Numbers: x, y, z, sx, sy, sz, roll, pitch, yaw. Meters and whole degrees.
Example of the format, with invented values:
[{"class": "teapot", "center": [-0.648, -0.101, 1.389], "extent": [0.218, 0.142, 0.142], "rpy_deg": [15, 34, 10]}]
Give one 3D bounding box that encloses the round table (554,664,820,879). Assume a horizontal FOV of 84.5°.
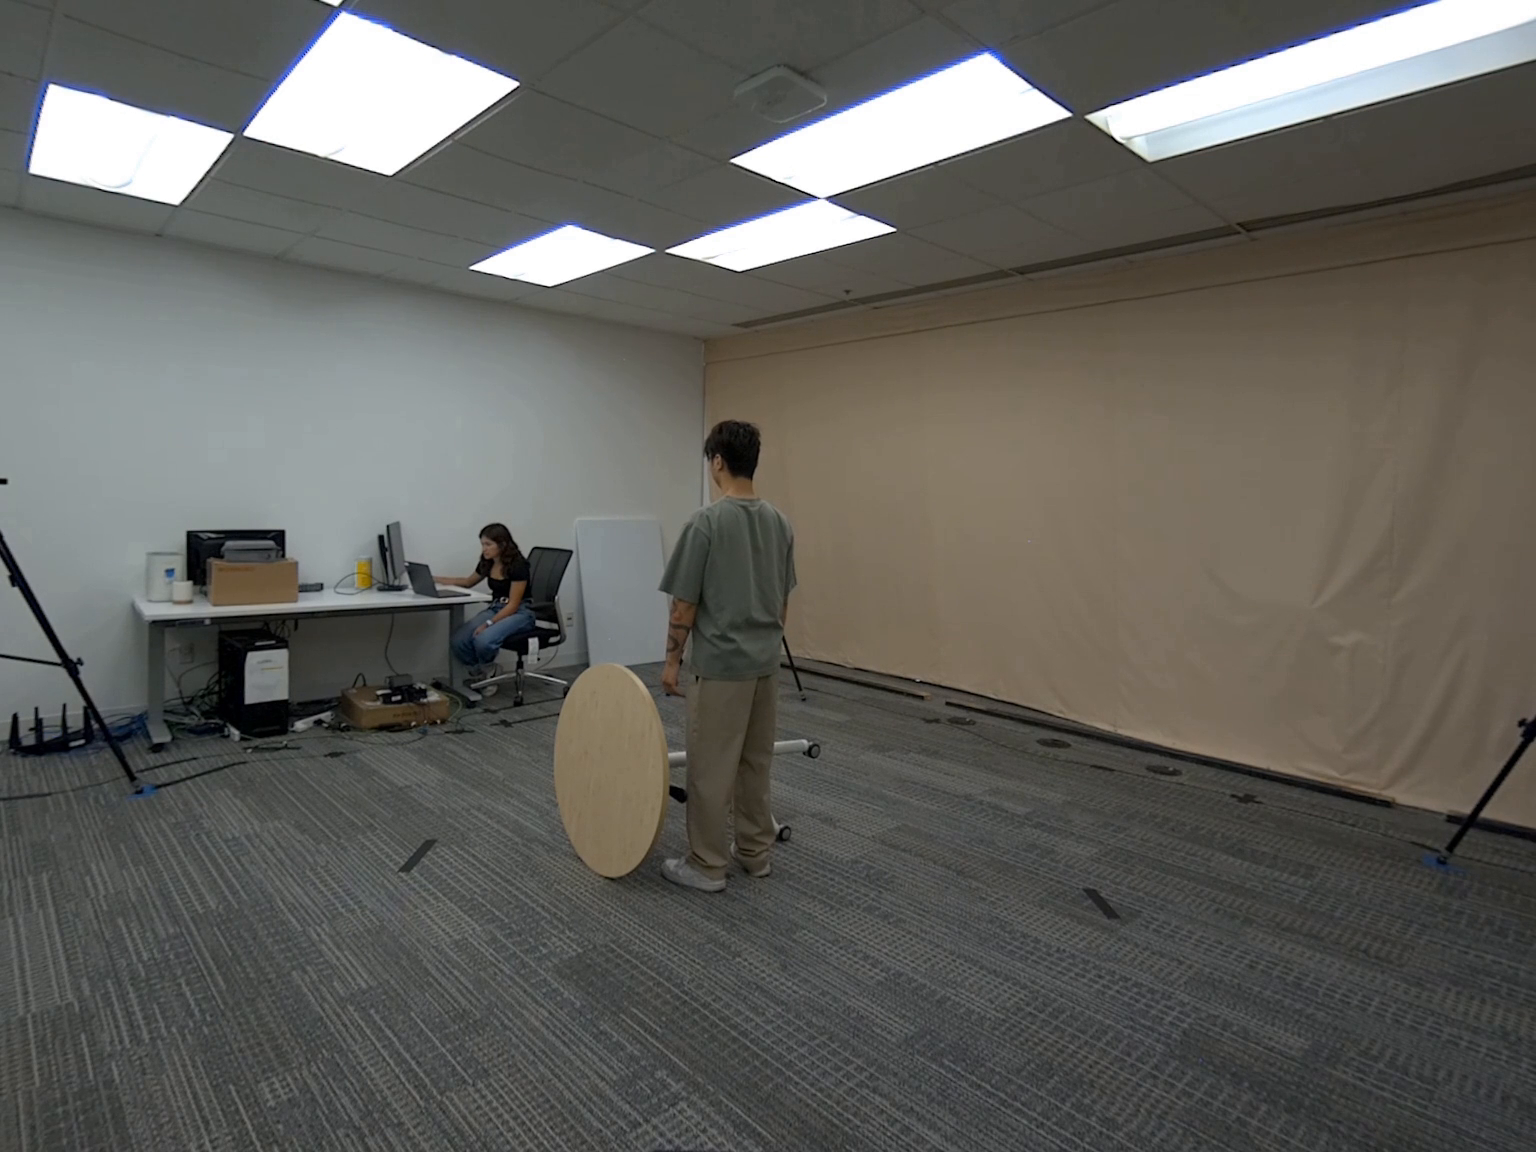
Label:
[{"class": "round table", "center": [-0.327, 0.736, 3.382], "extent": [0.766, 0.785, 0.805], "rpy_deg": [6, 0, -41]}]
